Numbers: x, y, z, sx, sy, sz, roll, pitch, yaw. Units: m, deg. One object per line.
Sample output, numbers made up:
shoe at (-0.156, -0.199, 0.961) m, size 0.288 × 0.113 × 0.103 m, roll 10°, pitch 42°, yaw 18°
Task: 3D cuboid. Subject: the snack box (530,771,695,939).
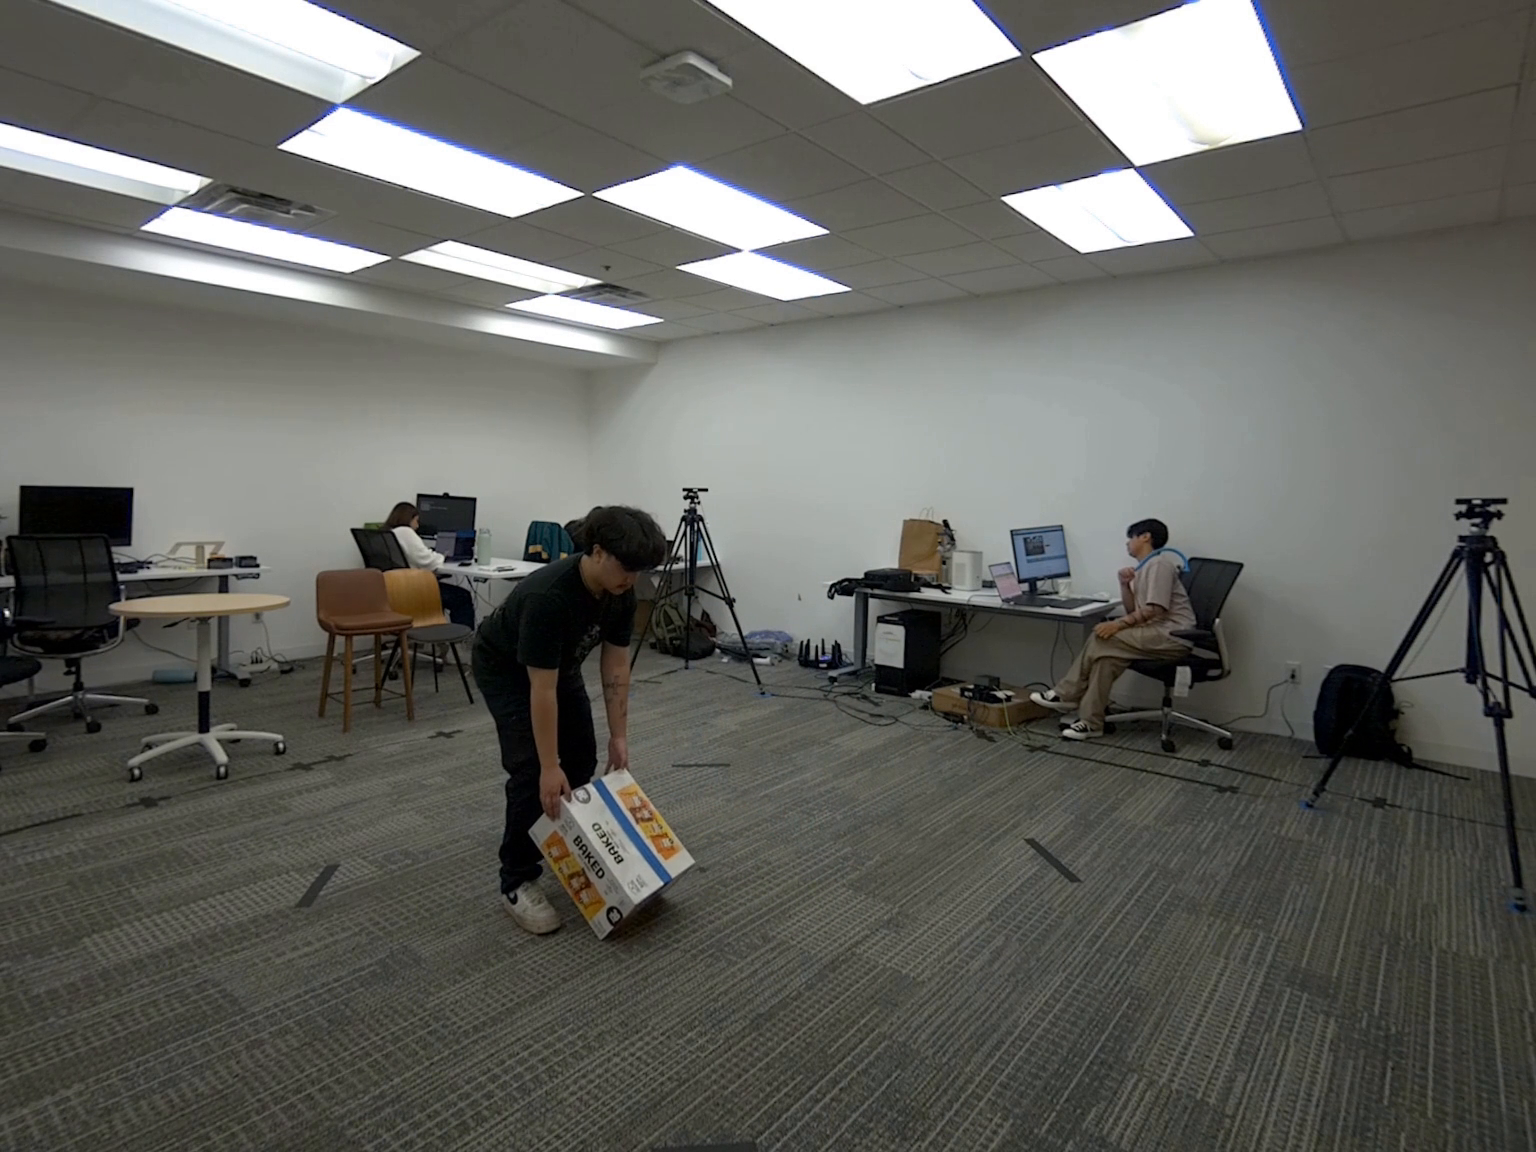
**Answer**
snack box at (-0.513, 0.890, 2.769) m, size 0.416 × 0.205 × 0.332 m, roll 48°, pitch 23°, yaw 18°
